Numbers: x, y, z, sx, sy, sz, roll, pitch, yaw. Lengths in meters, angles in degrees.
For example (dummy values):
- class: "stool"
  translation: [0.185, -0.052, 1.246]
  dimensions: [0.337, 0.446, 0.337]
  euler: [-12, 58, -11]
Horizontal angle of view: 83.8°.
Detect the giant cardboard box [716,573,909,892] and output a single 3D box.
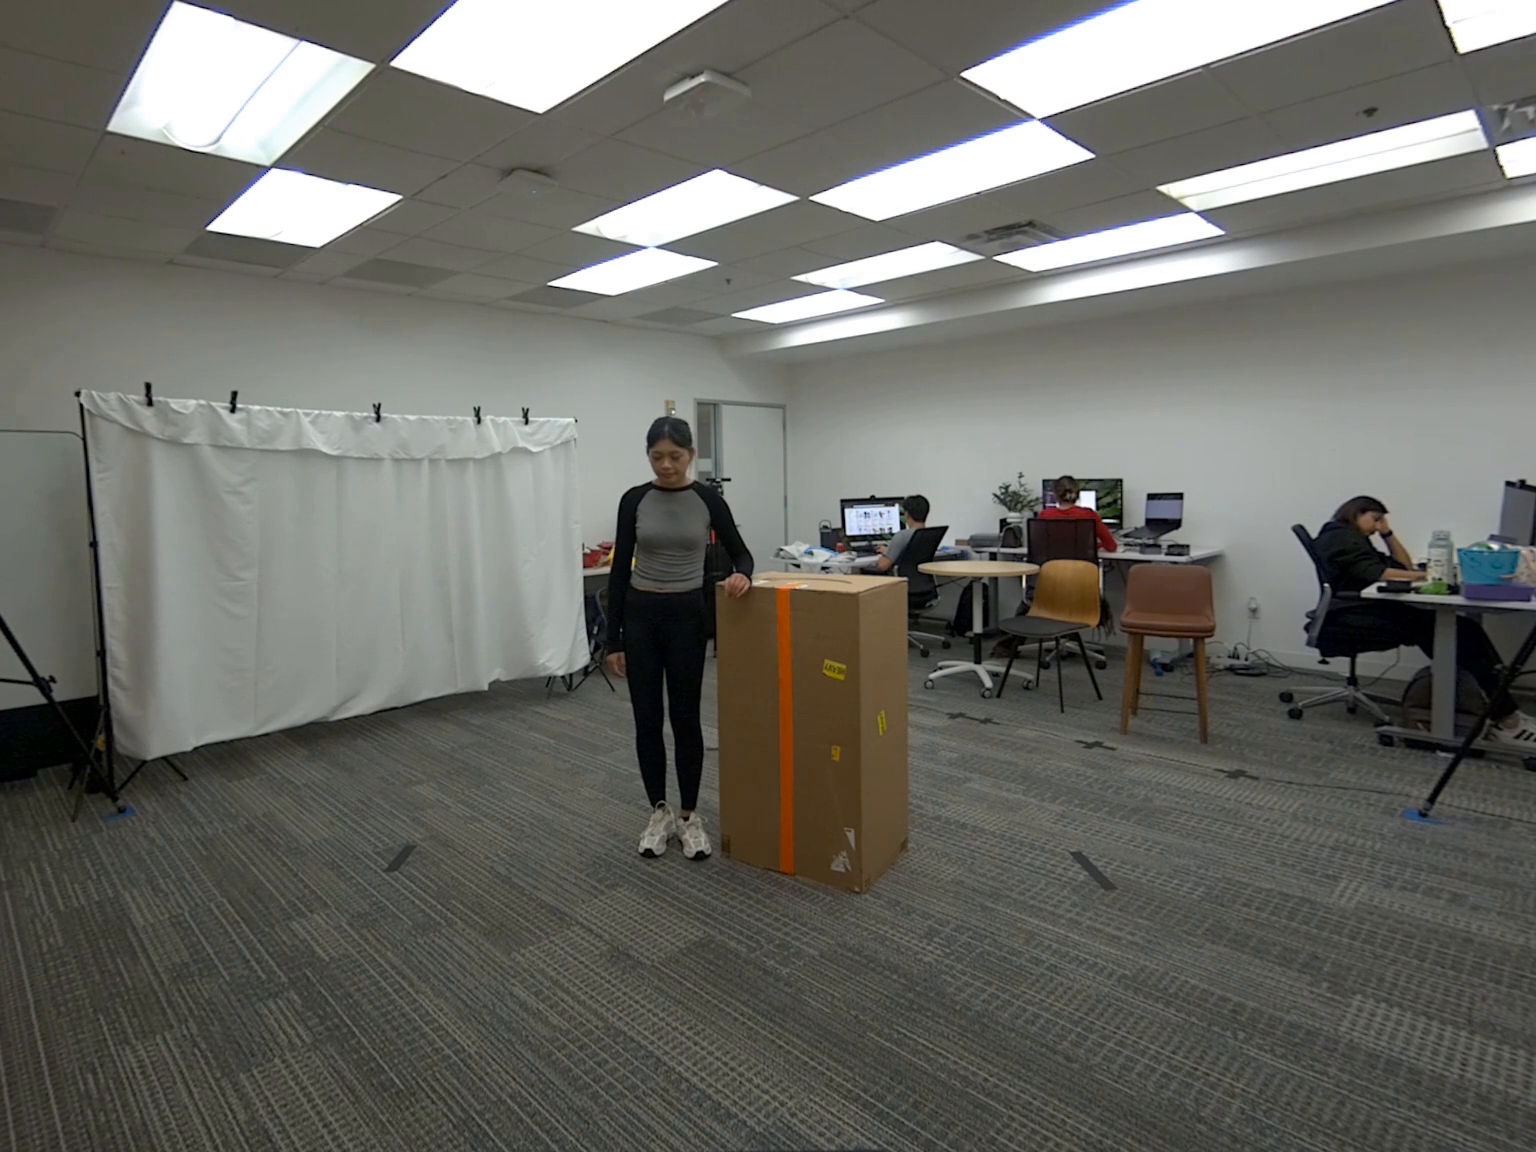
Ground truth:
- class: "giant cardboard box"
  translation: [0.174, 0.523, 3.148]
  dimensions: [0.593, 1.022, 0.416]
  euler: [2, 5, 33]
